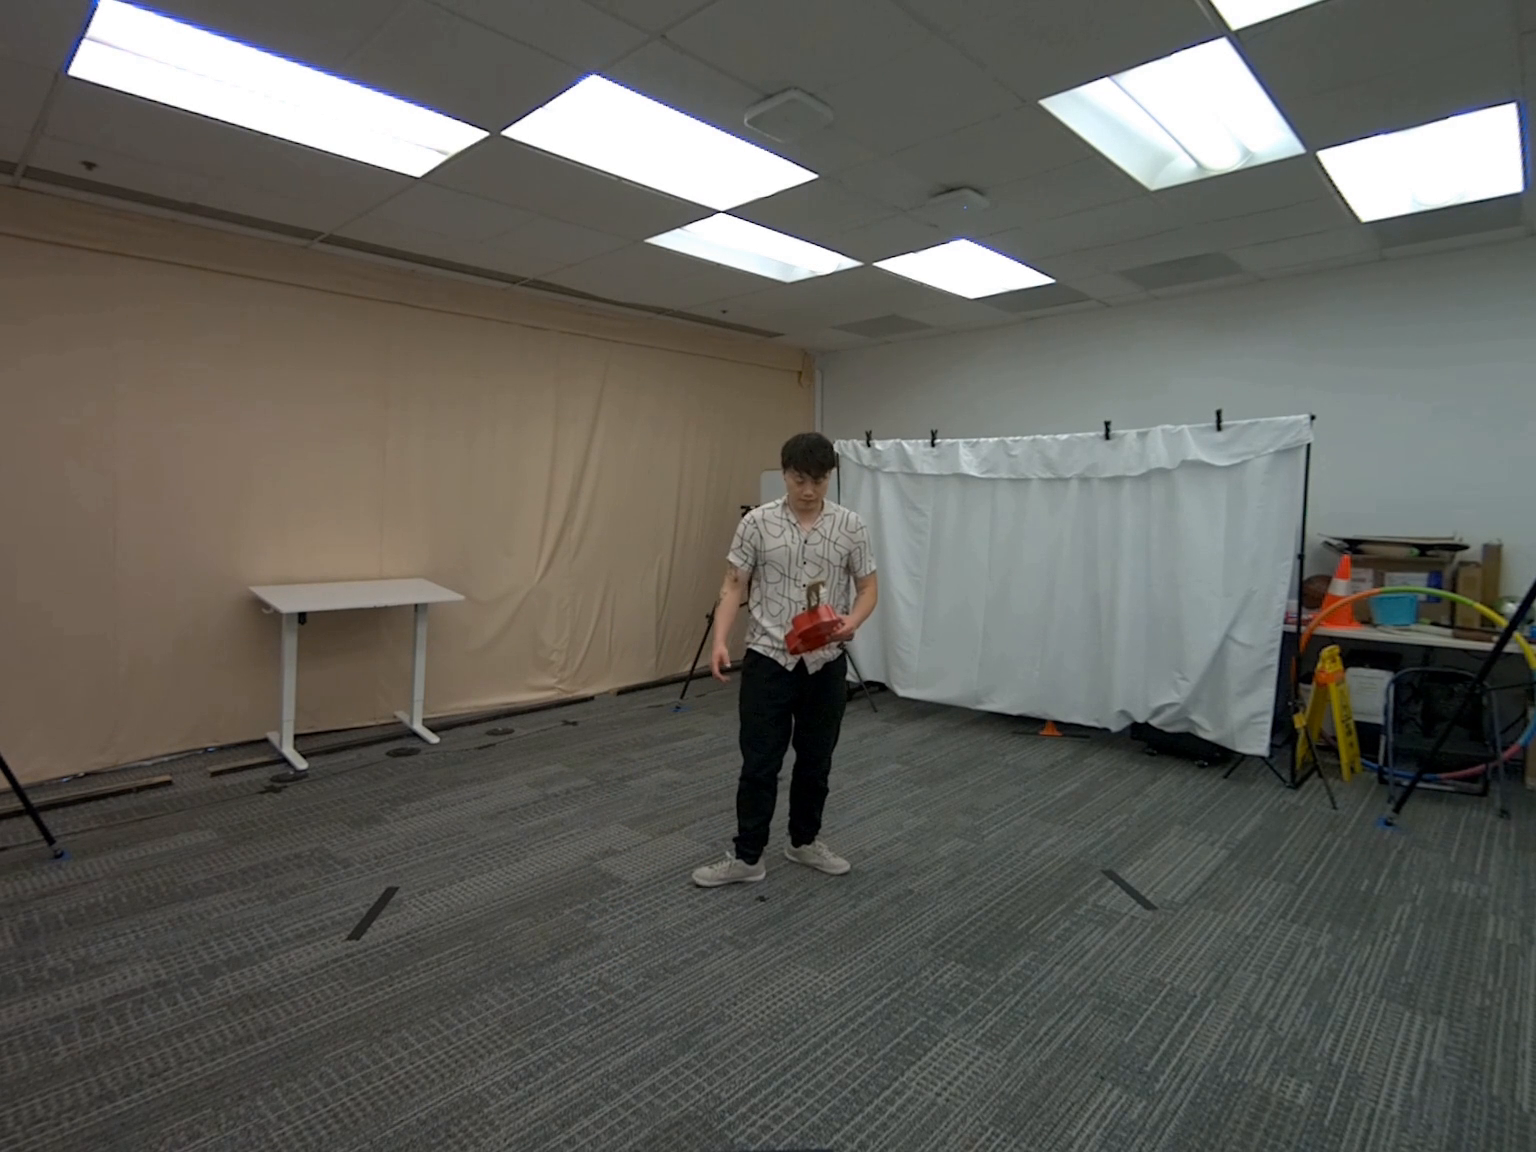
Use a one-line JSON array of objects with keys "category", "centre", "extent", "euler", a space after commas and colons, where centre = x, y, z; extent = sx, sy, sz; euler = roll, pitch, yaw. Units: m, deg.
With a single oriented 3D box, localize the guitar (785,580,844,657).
[{"category": "guitar", "centre": [0.117, 0.140, 2.734], "extent": [0.193, 0.072, 0.487], "euler": [-19, -22, 0]}]
